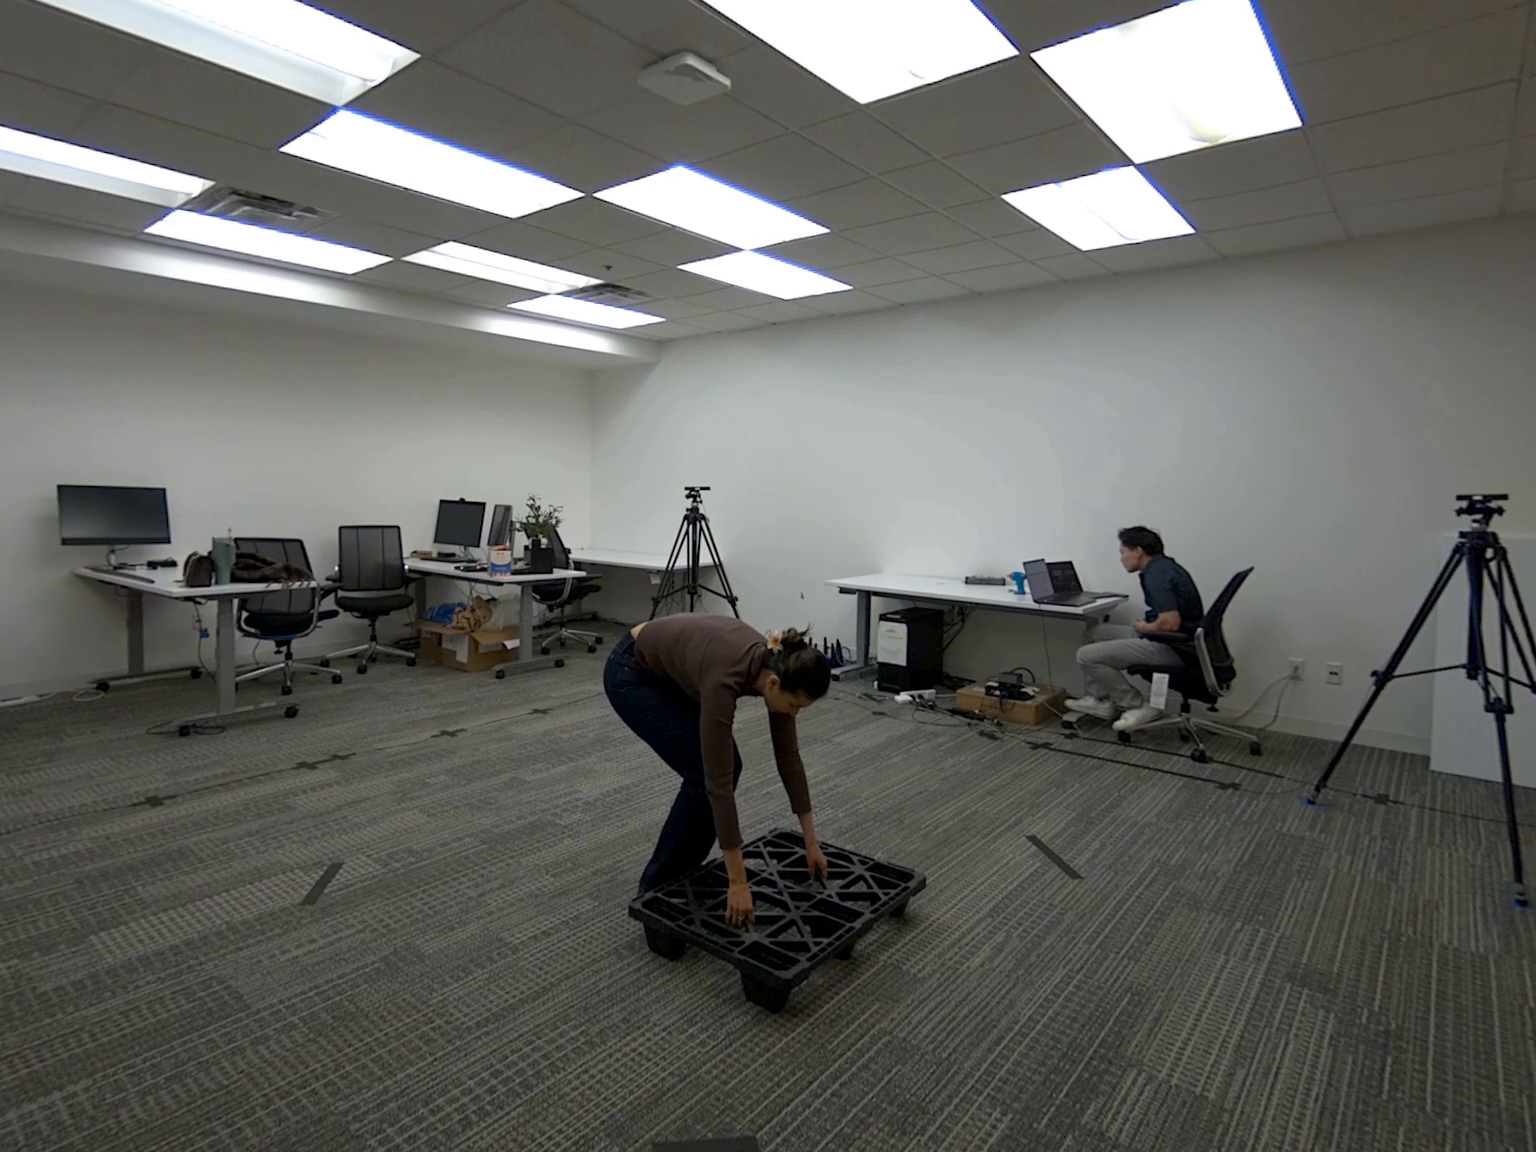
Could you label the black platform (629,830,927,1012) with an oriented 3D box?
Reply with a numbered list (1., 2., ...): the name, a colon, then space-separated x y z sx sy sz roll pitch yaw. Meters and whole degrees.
1. black platform: 0.034 1.044 2.675 0.625 0.143 0.782 5 7 38
